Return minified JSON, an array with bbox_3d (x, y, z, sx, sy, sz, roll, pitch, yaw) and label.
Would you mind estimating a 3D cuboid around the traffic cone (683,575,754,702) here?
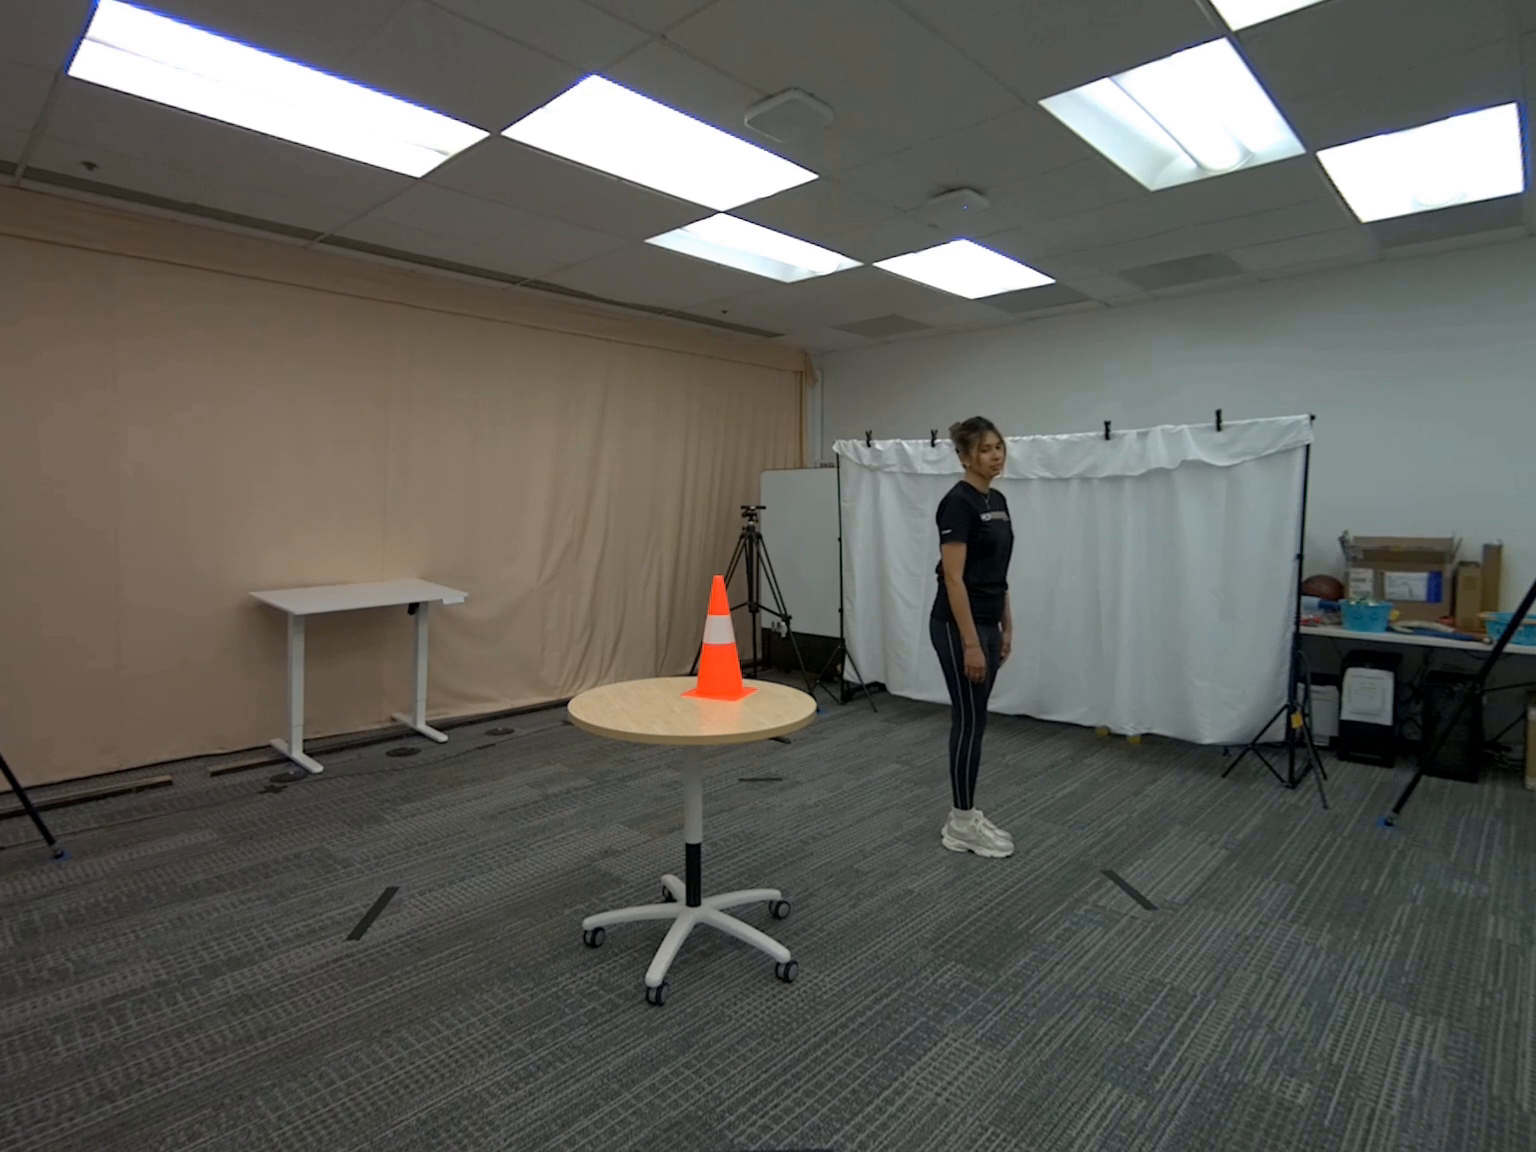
[{"bbox_3d":[-0.159,0.197,2.738,0.208,0.383,0.200,-1,3,24],"label":"traffic cone"}]
